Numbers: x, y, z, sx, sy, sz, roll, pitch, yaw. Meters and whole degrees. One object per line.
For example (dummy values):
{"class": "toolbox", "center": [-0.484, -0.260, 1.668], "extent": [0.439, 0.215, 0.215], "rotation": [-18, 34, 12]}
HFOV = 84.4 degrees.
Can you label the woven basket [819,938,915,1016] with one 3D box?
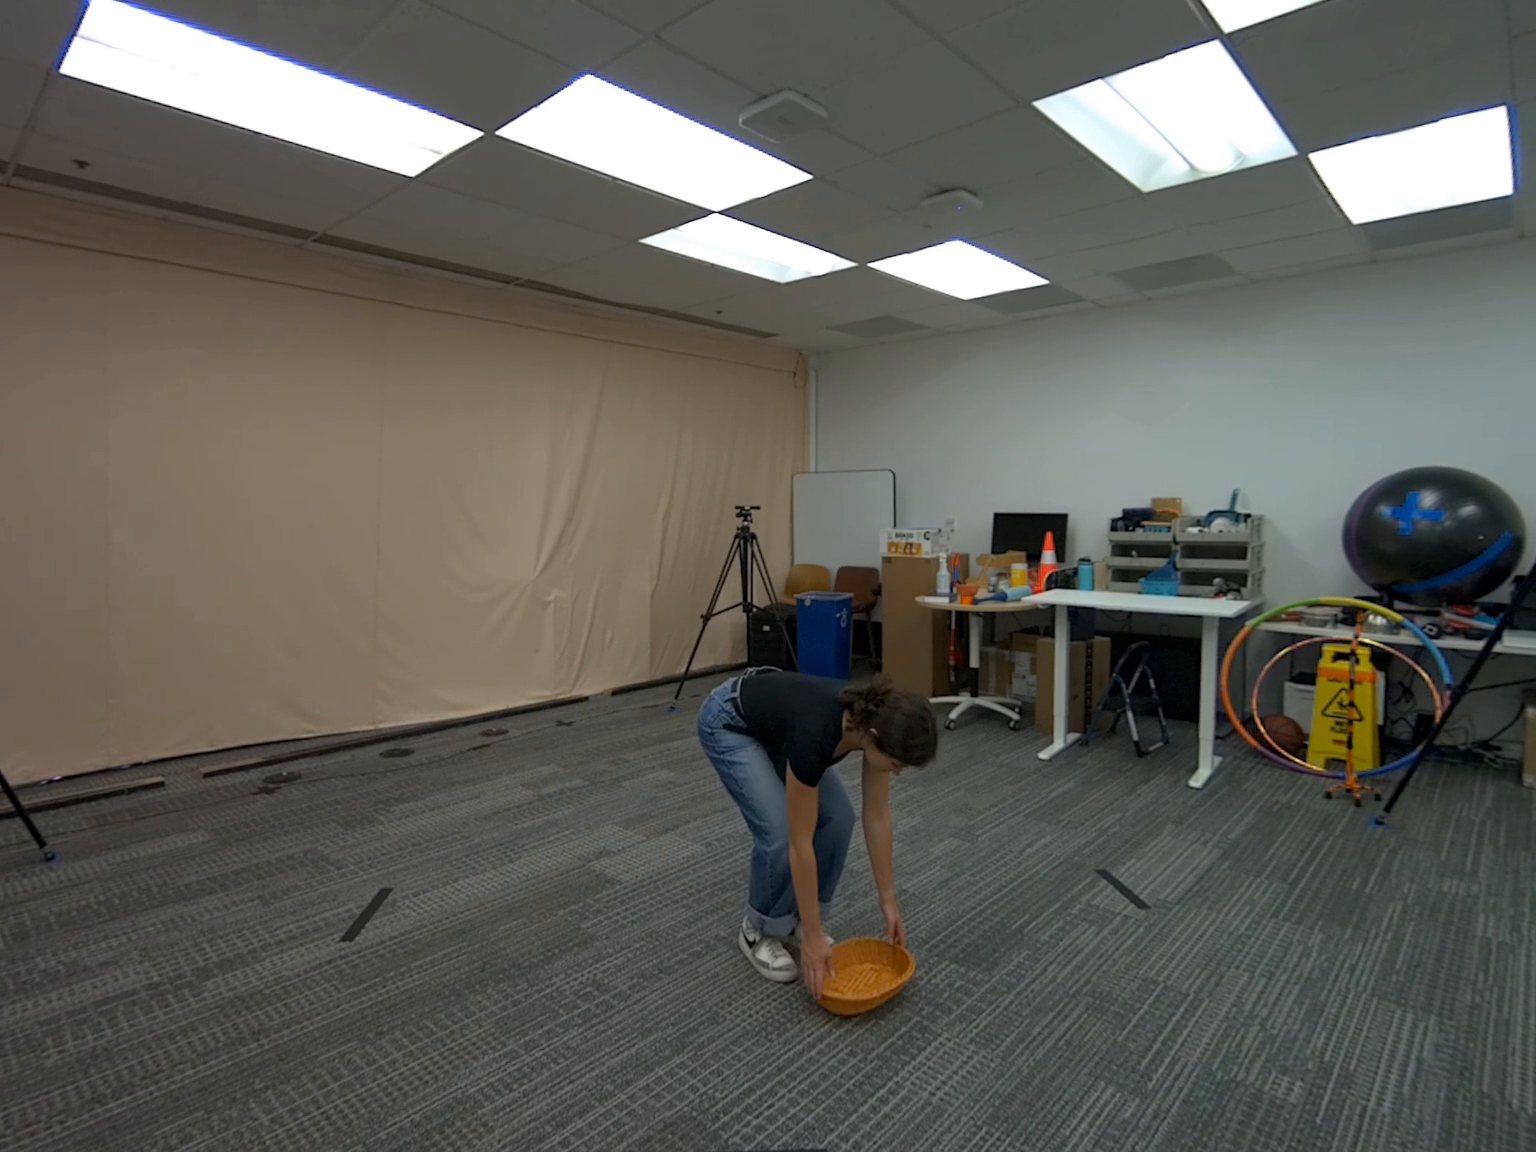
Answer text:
{"class": "woven basket", "center": [0.269, 1.129, 2.391], "extent": [0.340, 0.073, 0.260], "rotation": [-4, 5, -39]}
